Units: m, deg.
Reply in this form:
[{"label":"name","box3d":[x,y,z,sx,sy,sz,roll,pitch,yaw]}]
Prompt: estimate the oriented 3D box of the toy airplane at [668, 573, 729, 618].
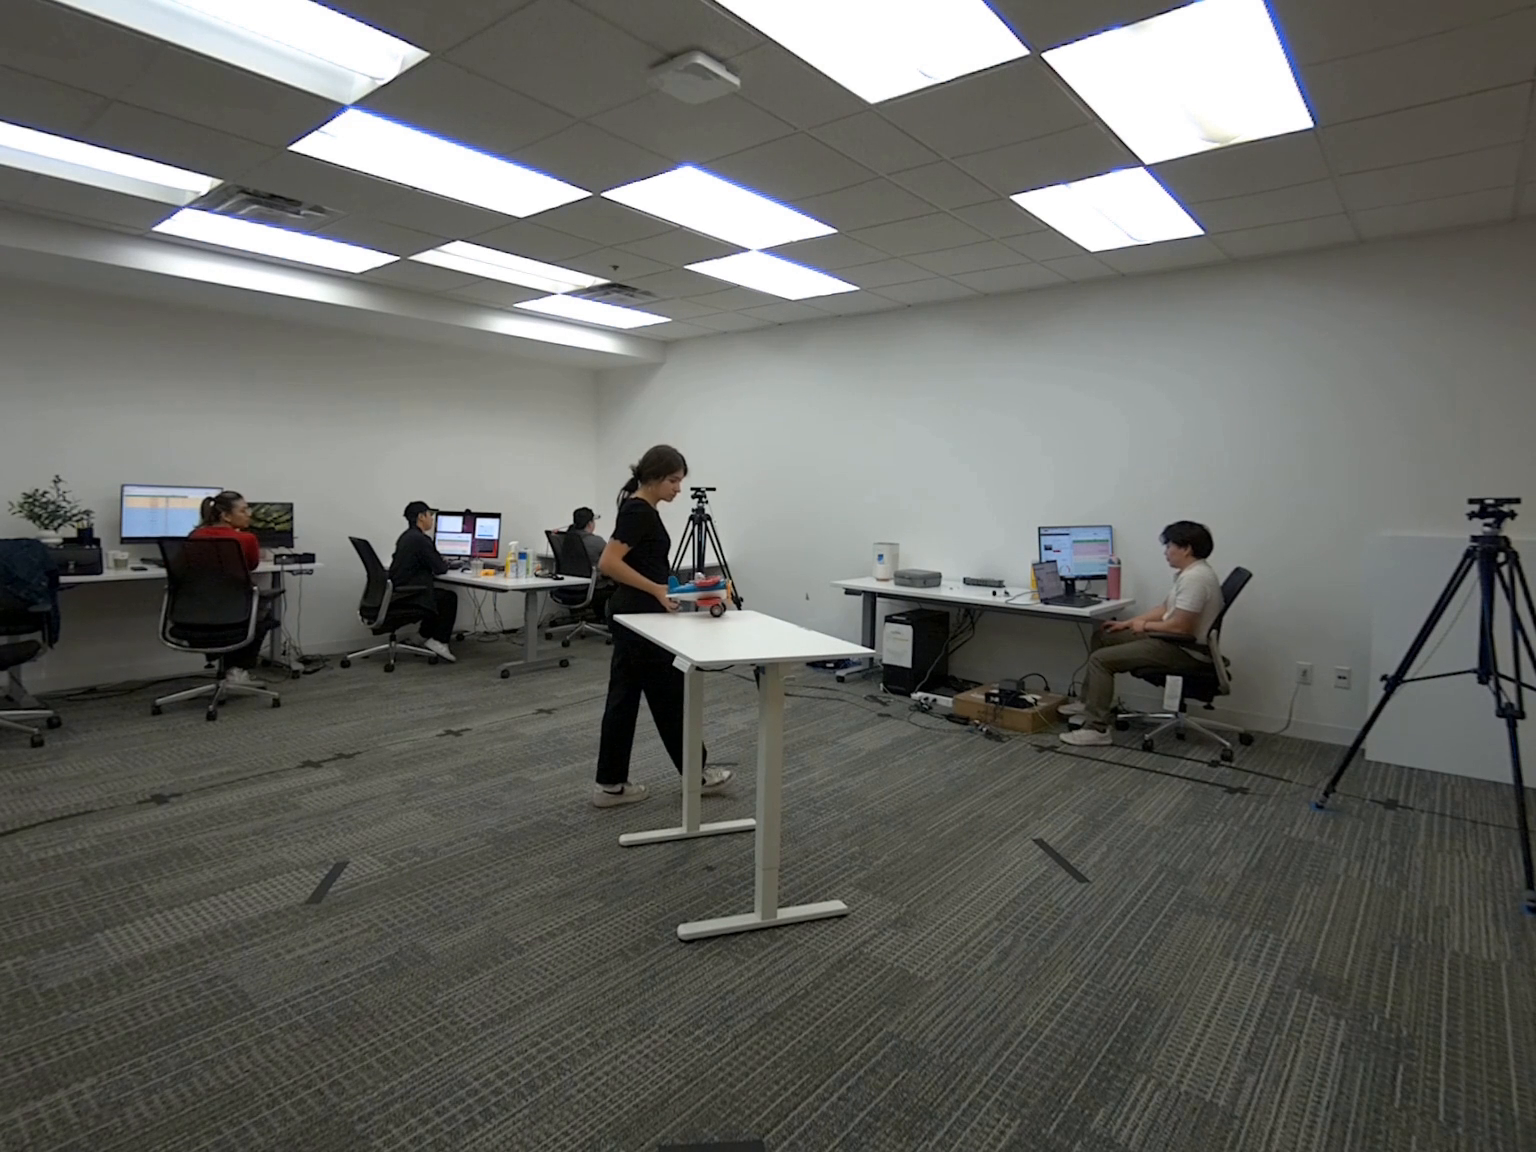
[{"label":"toy airplane","box3d":[-0.288,0.073,3.398,0.253,0.156,0.258,5,5,-23]}]
